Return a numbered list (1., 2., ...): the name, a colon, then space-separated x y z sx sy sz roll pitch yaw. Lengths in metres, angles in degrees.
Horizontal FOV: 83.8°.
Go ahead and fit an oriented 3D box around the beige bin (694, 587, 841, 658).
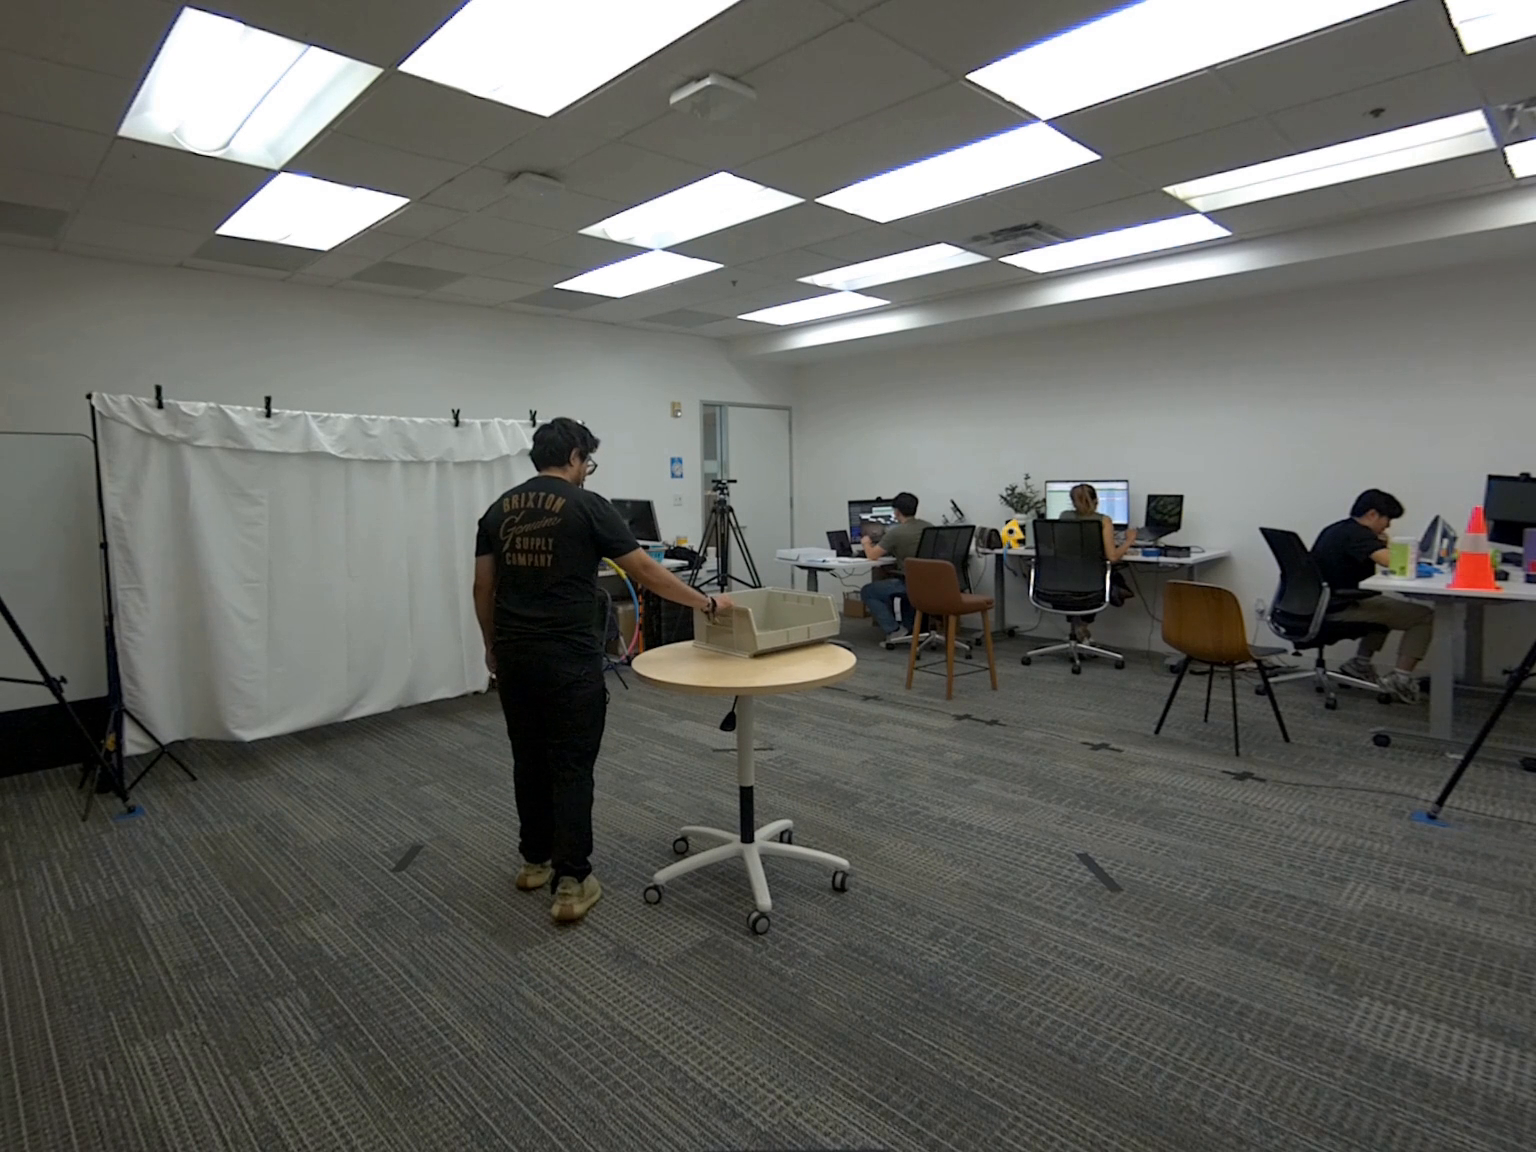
1. beige bin: -0.016 0.167 3.159 0.411 0.188 0.388 -7 6 -40
